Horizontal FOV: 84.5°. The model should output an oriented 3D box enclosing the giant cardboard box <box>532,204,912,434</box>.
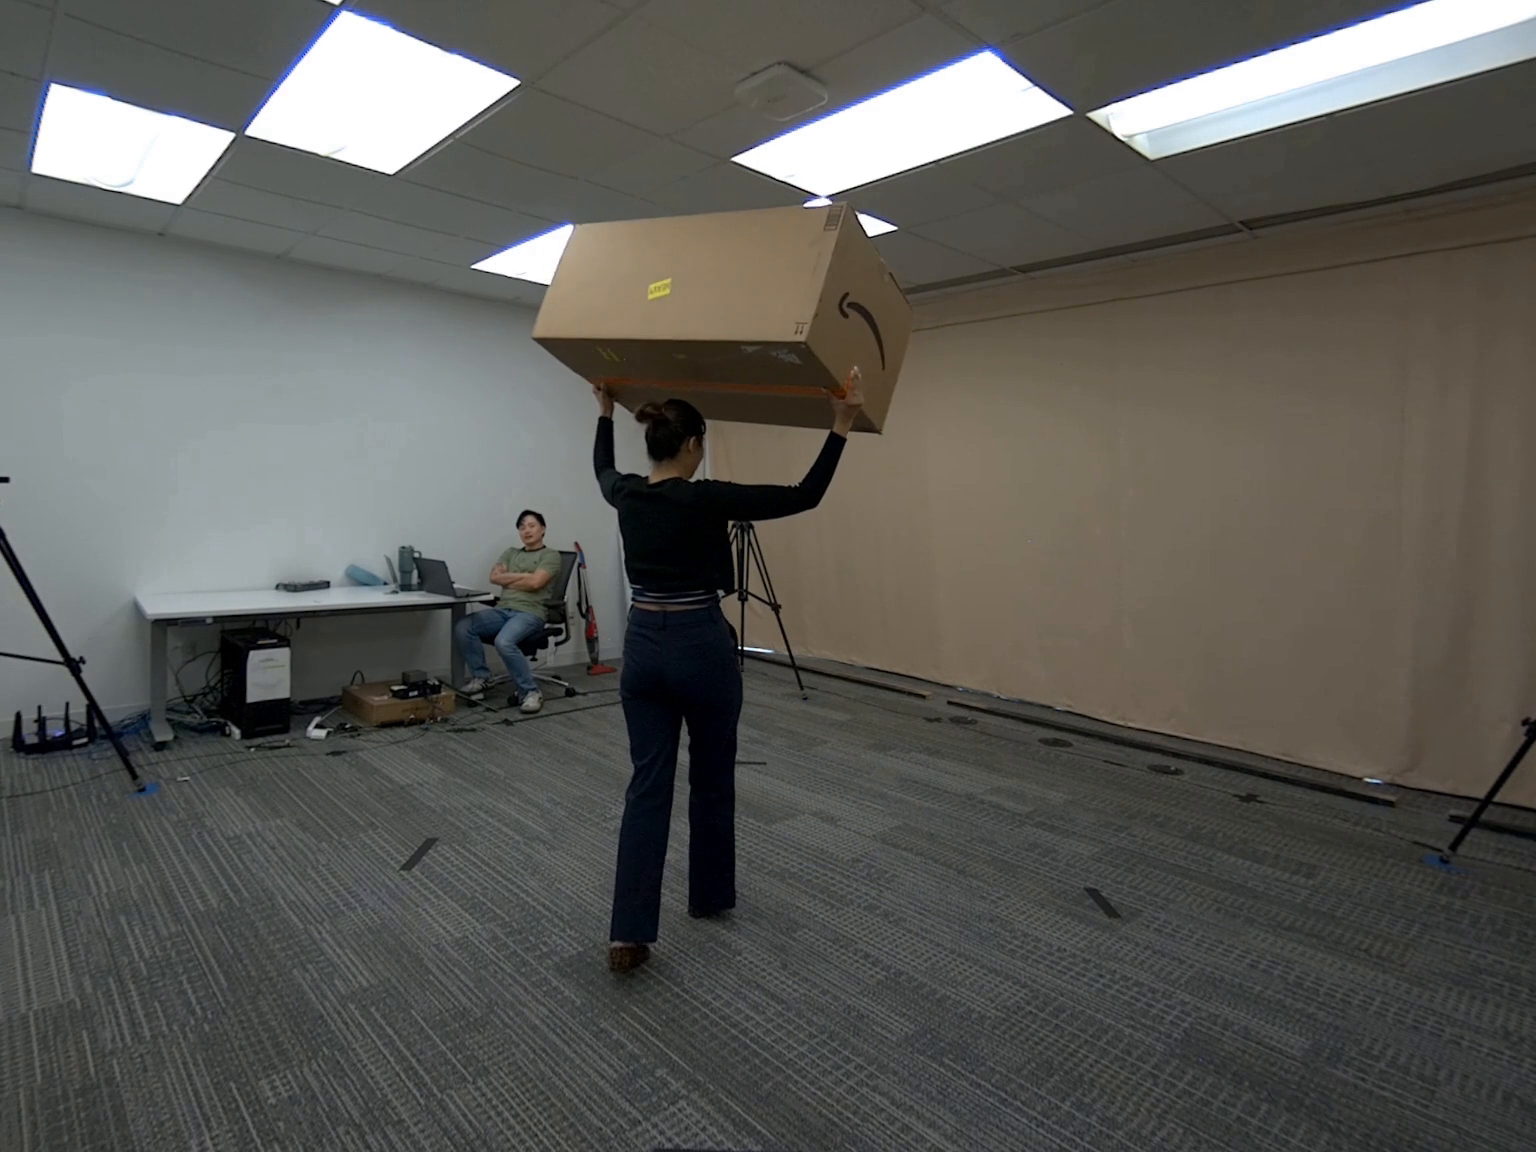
[{"bbox_3d":[-0.155,-0.794,2.697,1.052,0.428,0.560,11,-11,32],"label":"giant cardboard box"}]
